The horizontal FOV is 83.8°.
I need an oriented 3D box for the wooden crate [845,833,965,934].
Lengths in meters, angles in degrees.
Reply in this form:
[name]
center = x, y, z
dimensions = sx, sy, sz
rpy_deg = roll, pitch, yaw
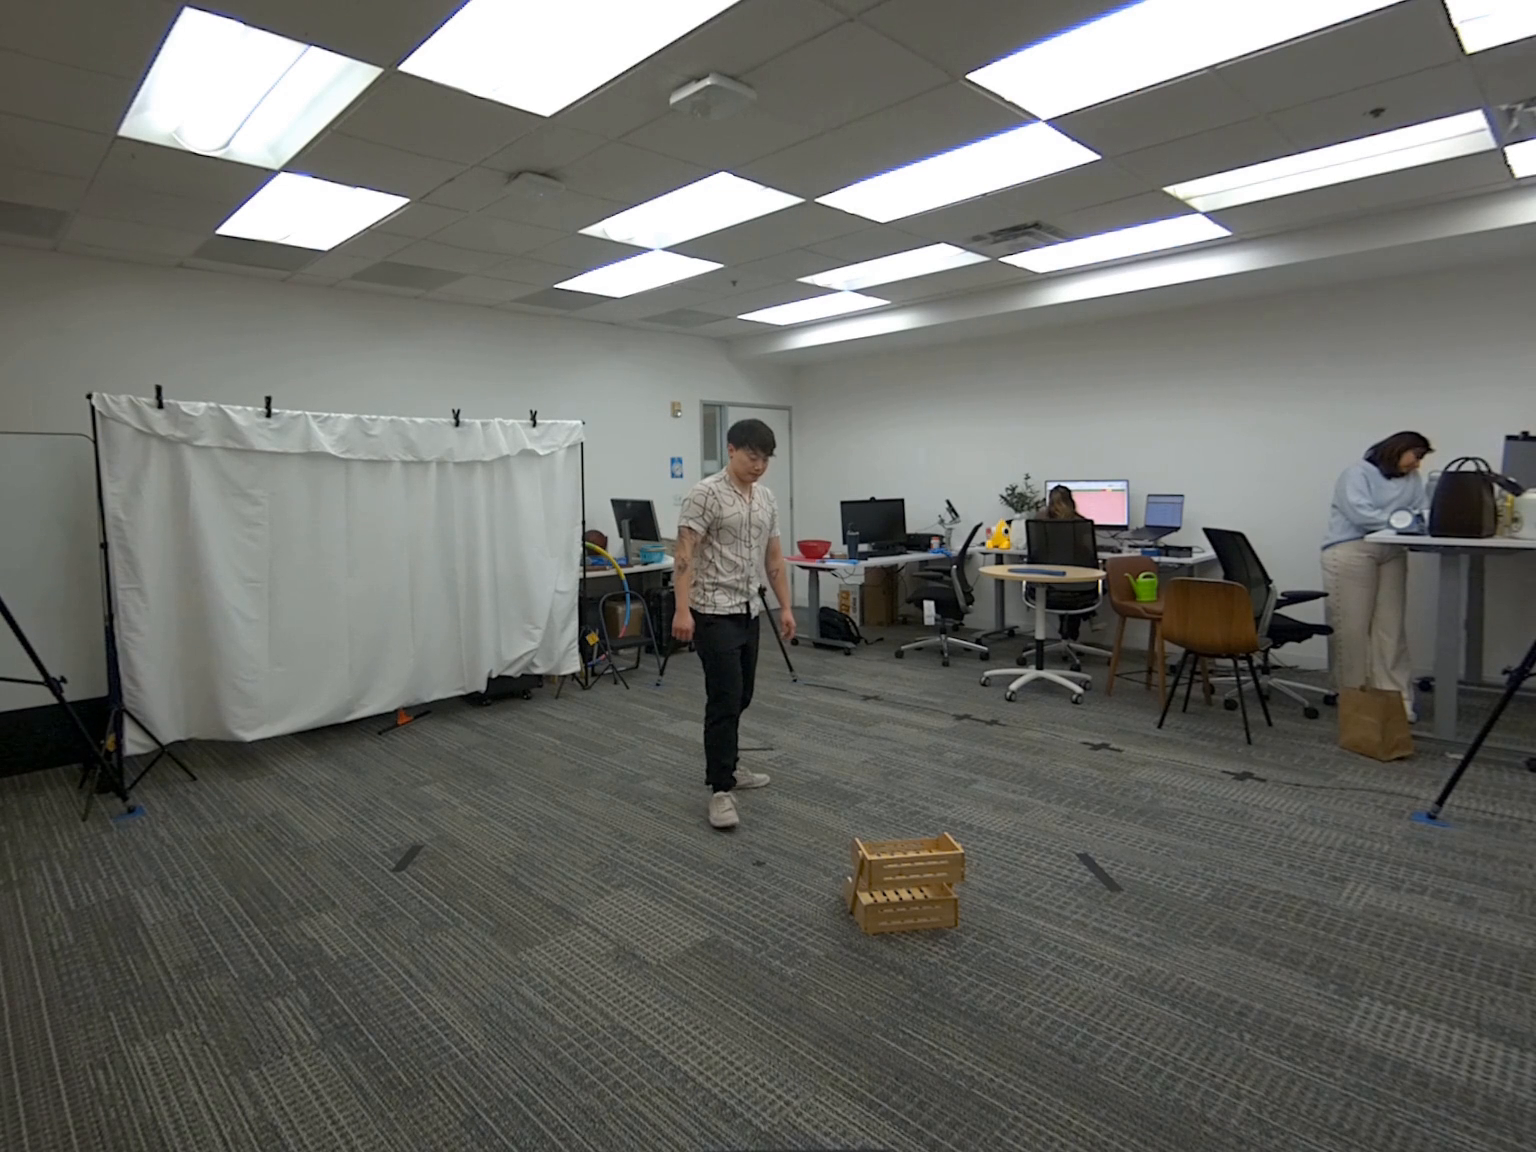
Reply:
[wooden crate]
center = 0.426, 0.946, 2.723
dimensions = 0.322, 0.272, 0.306
rpy_deg = -2, 5, -8
